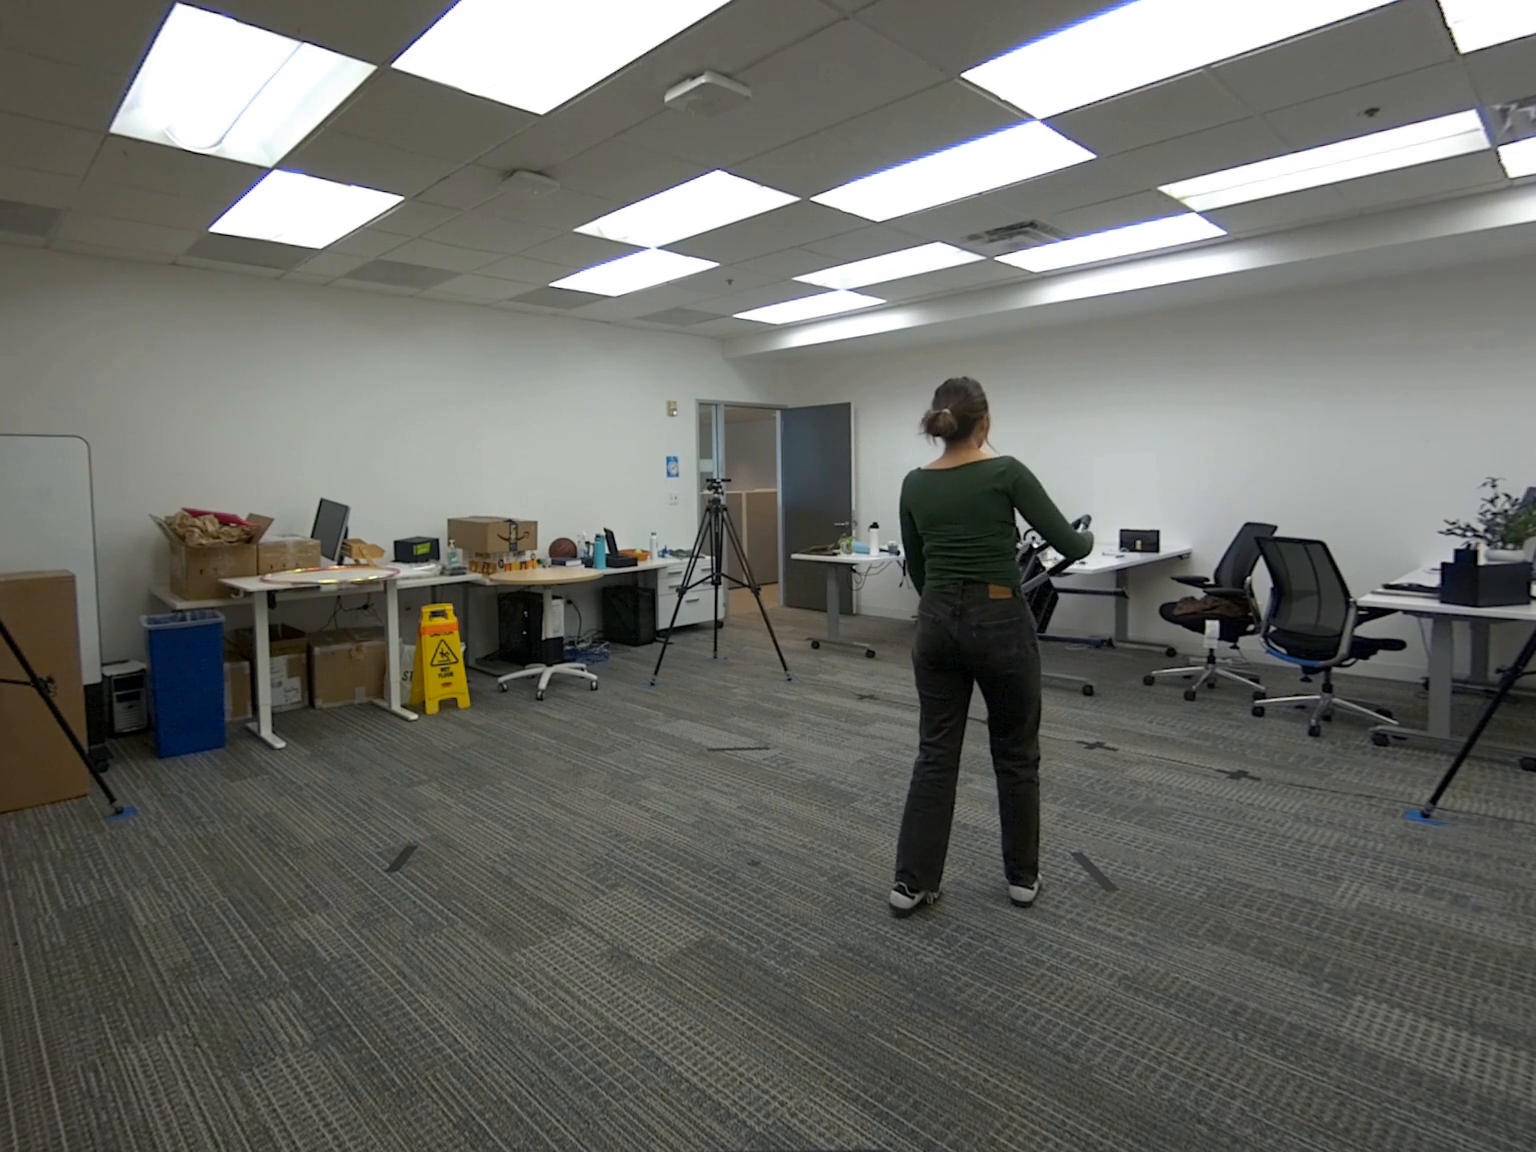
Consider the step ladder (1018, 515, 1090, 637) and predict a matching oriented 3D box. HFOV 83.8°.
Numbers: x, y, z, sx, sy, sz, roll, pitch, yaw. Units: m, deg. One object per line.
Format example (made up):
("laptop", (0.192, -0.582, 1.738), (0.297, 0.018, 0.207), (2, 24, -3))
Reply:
("step ladder", (0.909, 0.090, 3.098), (0.615, 0.346, 0.428), (-21, 11, 34))
